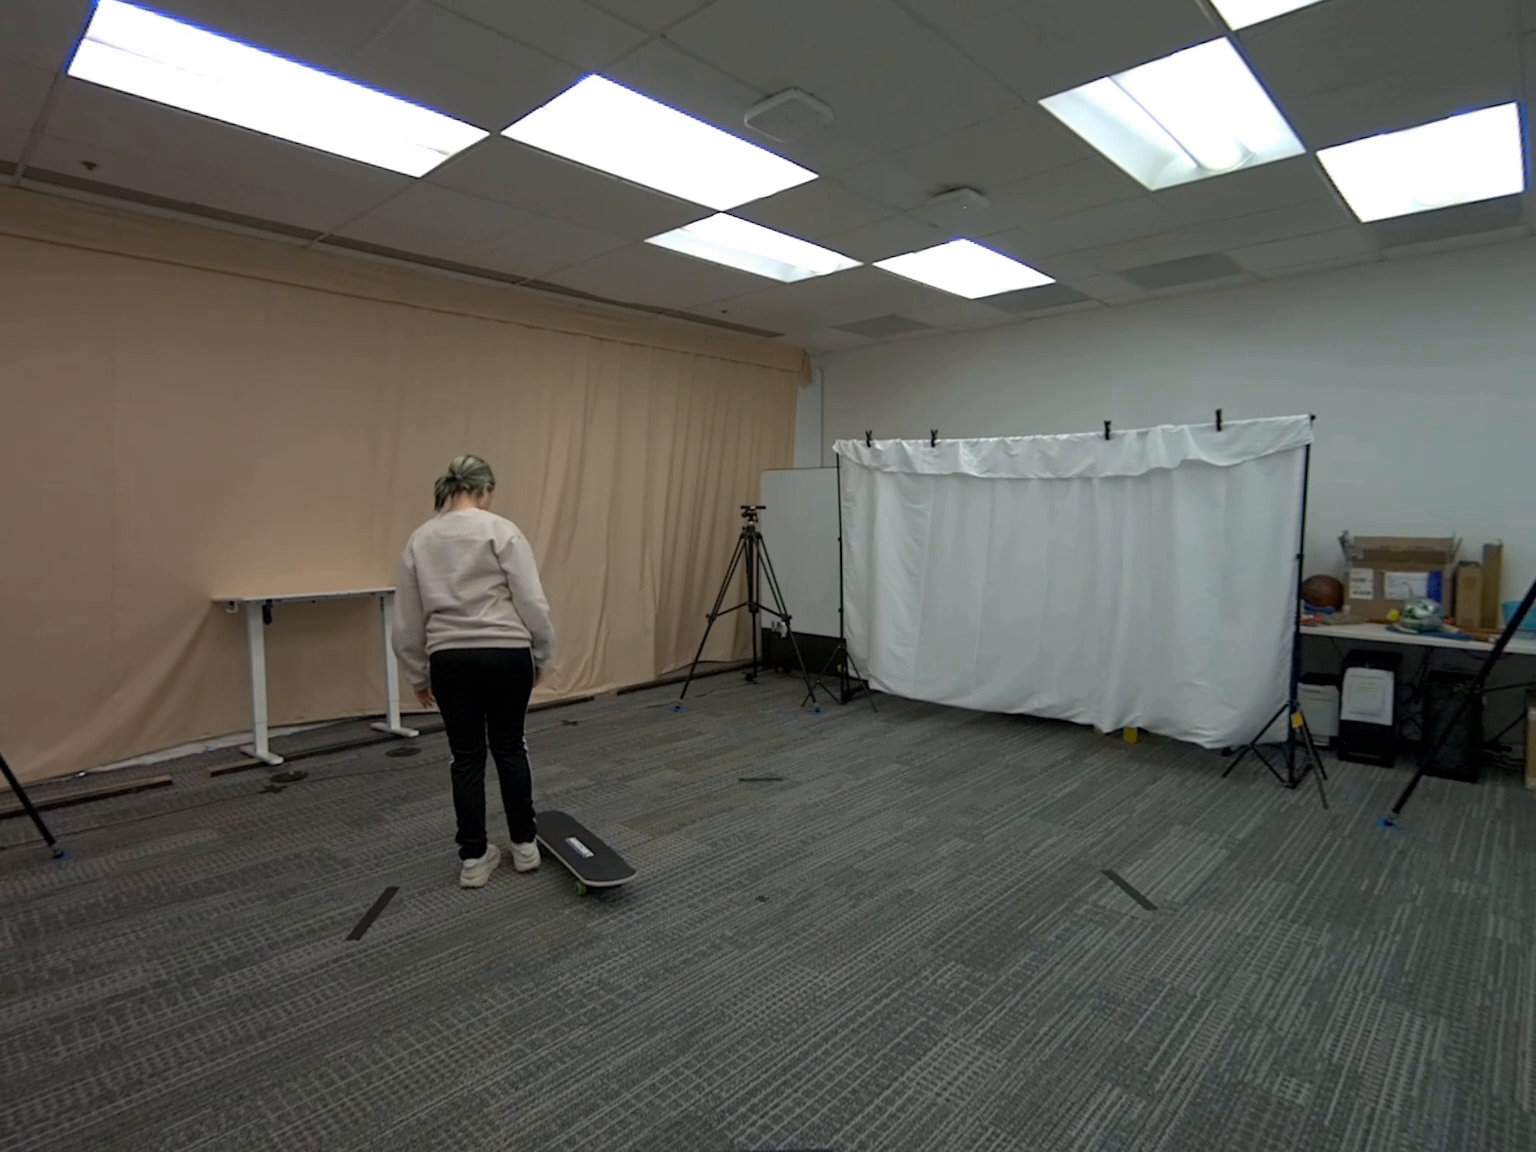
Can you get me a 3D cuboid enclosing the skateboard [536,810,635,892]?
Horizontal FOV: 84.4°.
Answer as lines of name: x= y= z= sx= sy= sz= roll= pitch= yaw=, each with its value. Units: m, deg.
skateboard: x=-0.720 y=1.069 z=3.232 sx=0.188 sy=0.110 sz=0.810 roll=-4 pitch=6 yaw=-34
